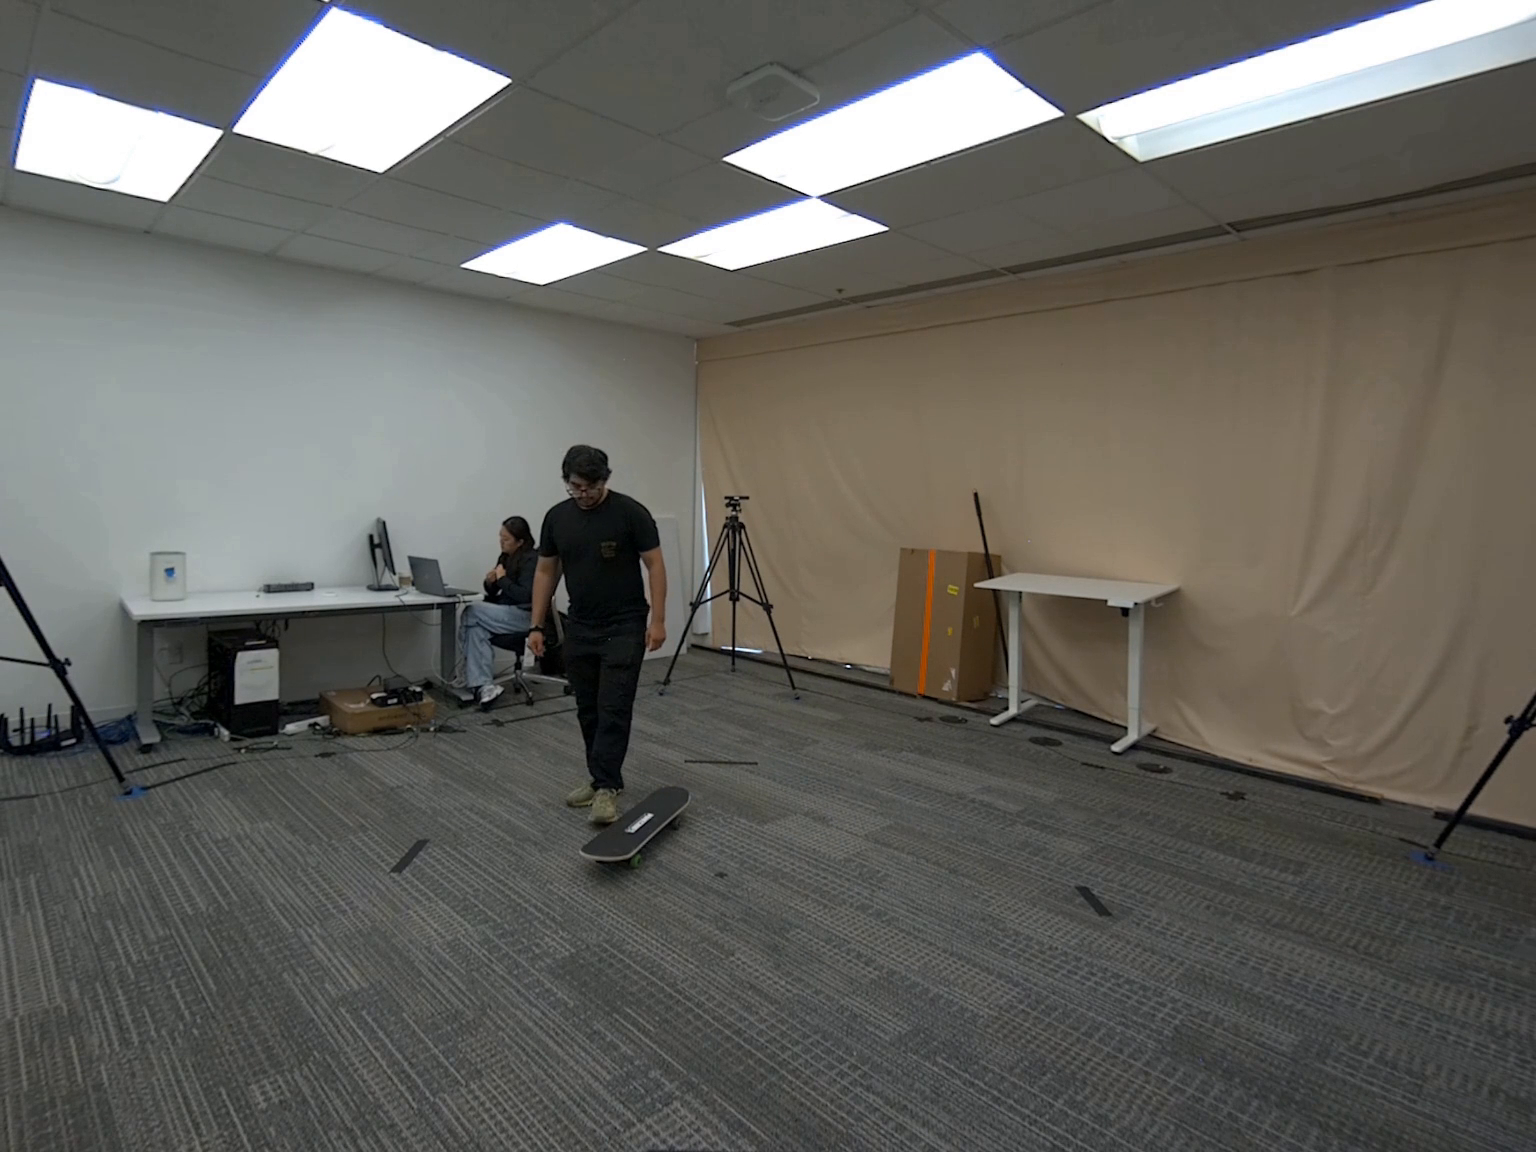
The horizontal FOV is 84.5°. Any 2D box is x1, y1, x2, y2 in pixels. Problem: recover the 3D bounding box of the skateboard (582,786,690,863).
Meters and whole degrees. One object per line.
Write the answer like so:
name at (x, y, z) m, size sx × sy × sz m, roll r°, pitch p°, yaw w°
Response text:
skateboard at (-0.518, 1.014, 3.358) m, size 0.196 × 0.110 × 0.776 m, roll 3°, pitch 5°, yaw 16°
